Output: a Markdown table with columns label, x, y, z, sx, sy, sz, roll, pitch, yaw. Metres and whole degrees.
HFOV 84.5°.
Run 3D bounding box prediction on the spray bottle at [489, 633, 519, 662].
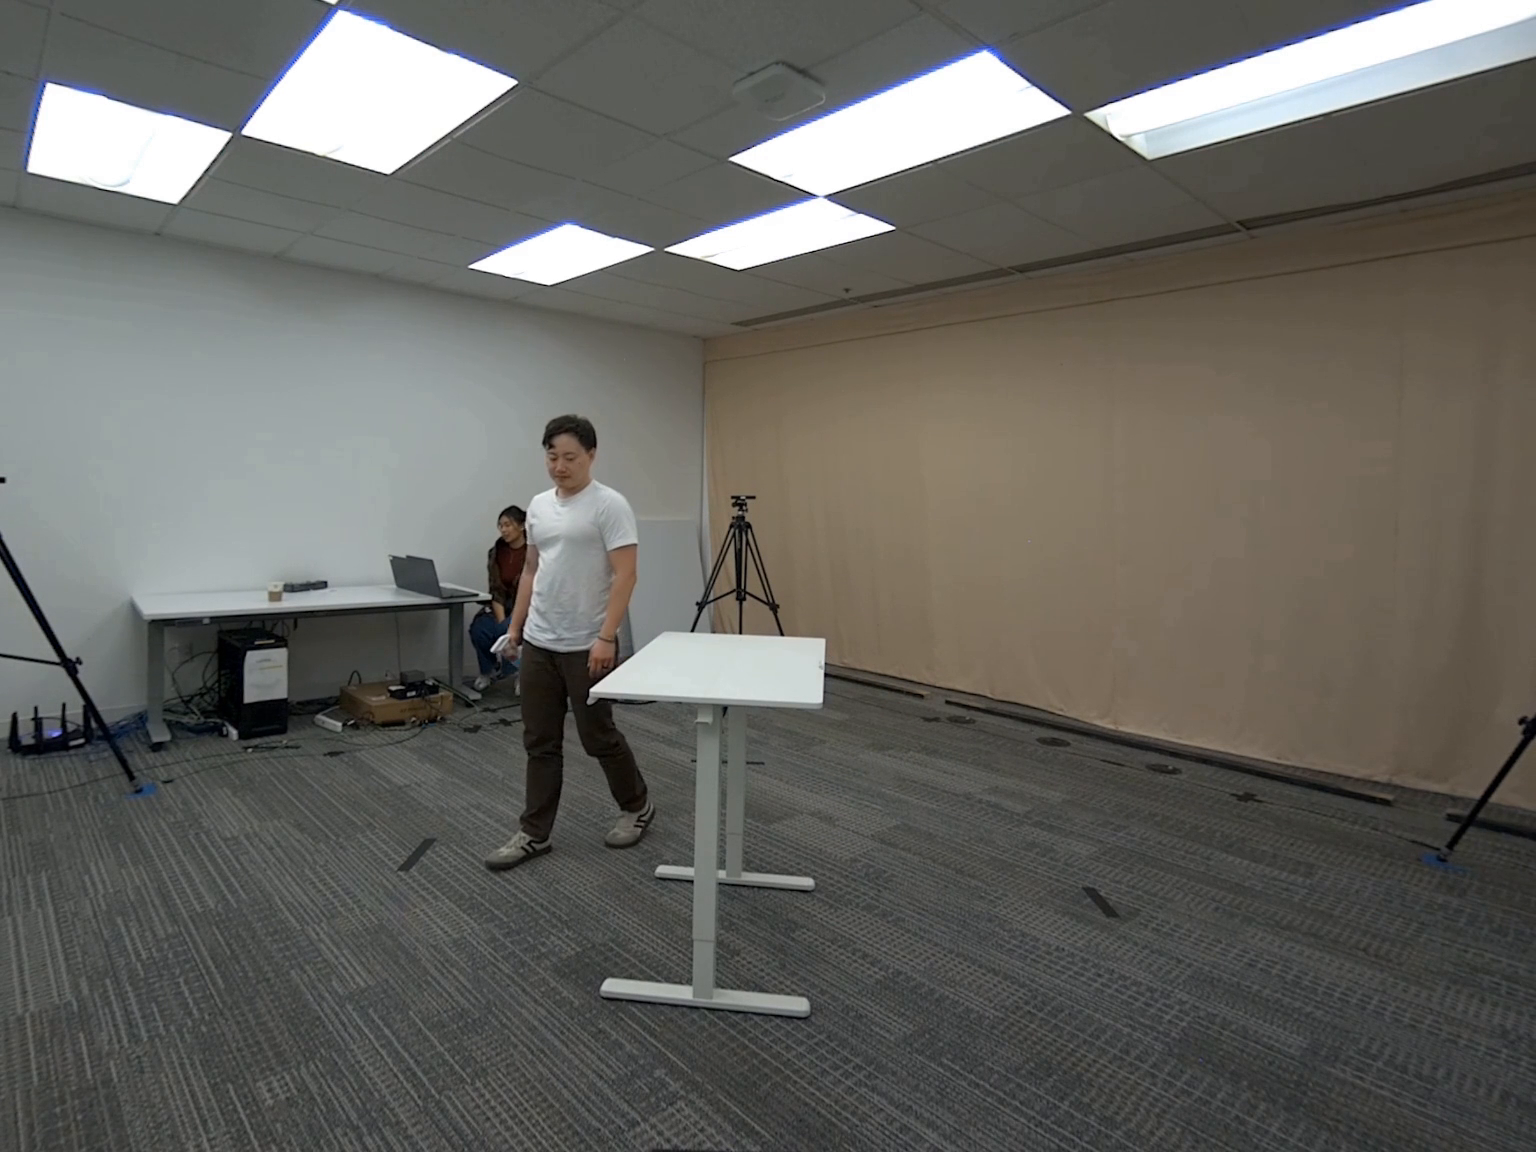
| label | x | y | z | sx | sy | sz | roll | pitch | yaw |
| --- | --- | --- | --- | --- | --- | --- | --- | --- | --- |
| spray bottle | -0.991 | 0.327 | 3.367 | 0.090 | 0.090 | 0.288 | -35 | -39 | 3 |
